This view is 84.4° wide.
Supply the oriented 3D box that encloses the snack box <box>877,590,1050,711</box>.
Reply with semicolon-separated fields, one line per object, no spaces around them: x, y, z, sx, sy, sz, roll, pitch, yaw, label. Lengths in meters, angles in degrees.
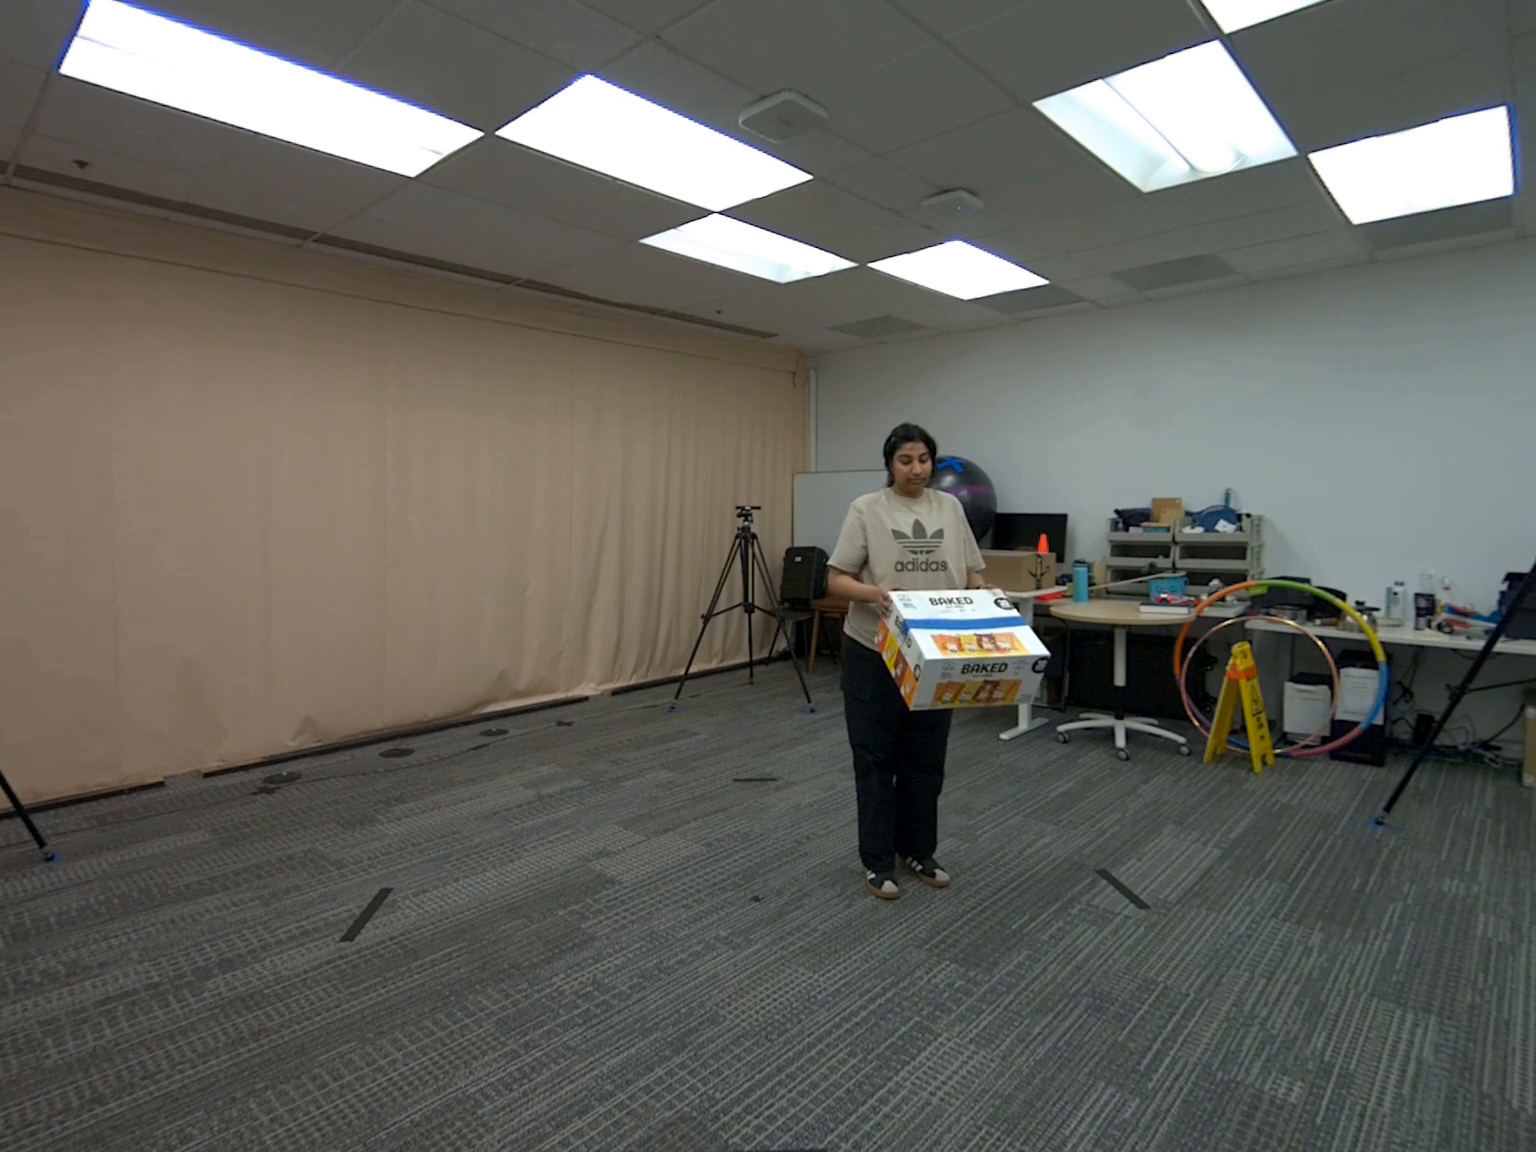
0.600;0.236;2.673;0.400;0.203;0.349;0;35;-13;snack box
